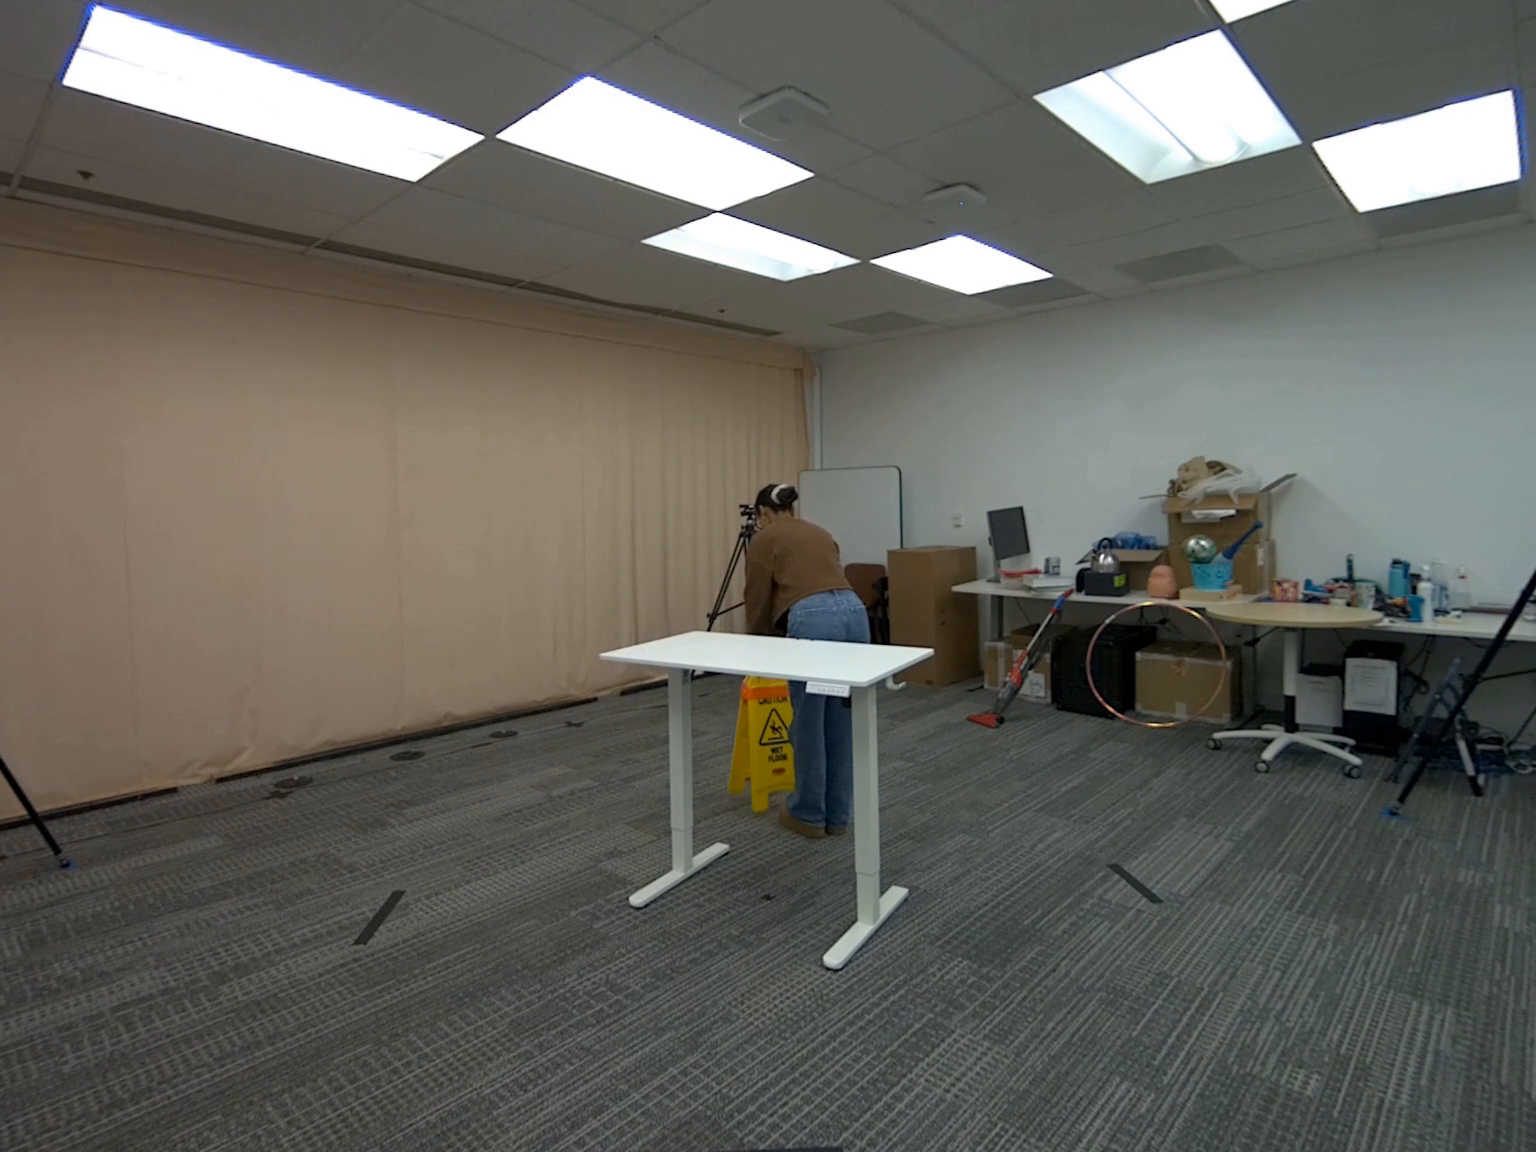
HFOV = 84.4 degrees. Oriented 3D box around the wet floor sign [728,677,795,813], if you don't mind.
[{"bbox_3d":[-0.001,0.708,3.914,0.276,0.644,0.297,-2,4,-24],"label":"wet floor sign"}]
